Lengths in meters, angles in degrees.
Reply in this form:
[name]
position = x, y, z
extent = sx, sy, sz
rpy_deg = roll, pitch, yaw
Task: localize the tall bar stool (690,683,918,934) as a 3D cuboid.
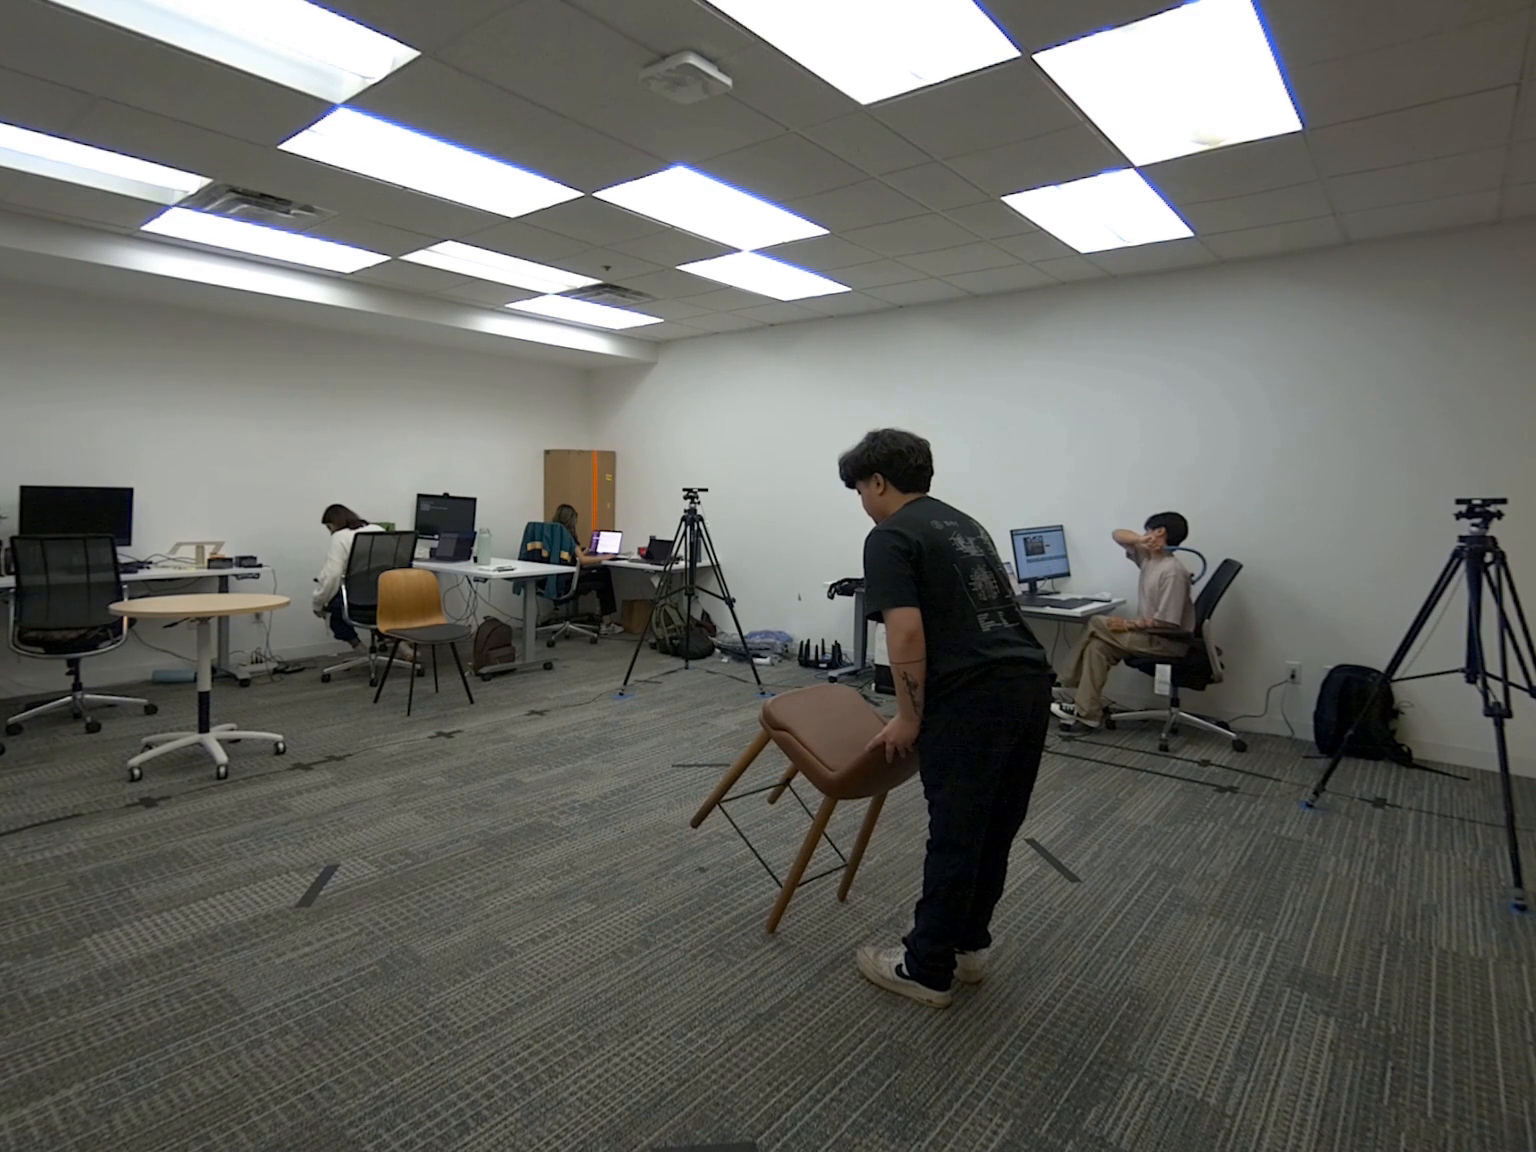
[tall bar stool]
position = 0.175, 0.632, 2.726
extent = 0.442, 0.881, 0.487
rpy_deg = -1, 39, -44
